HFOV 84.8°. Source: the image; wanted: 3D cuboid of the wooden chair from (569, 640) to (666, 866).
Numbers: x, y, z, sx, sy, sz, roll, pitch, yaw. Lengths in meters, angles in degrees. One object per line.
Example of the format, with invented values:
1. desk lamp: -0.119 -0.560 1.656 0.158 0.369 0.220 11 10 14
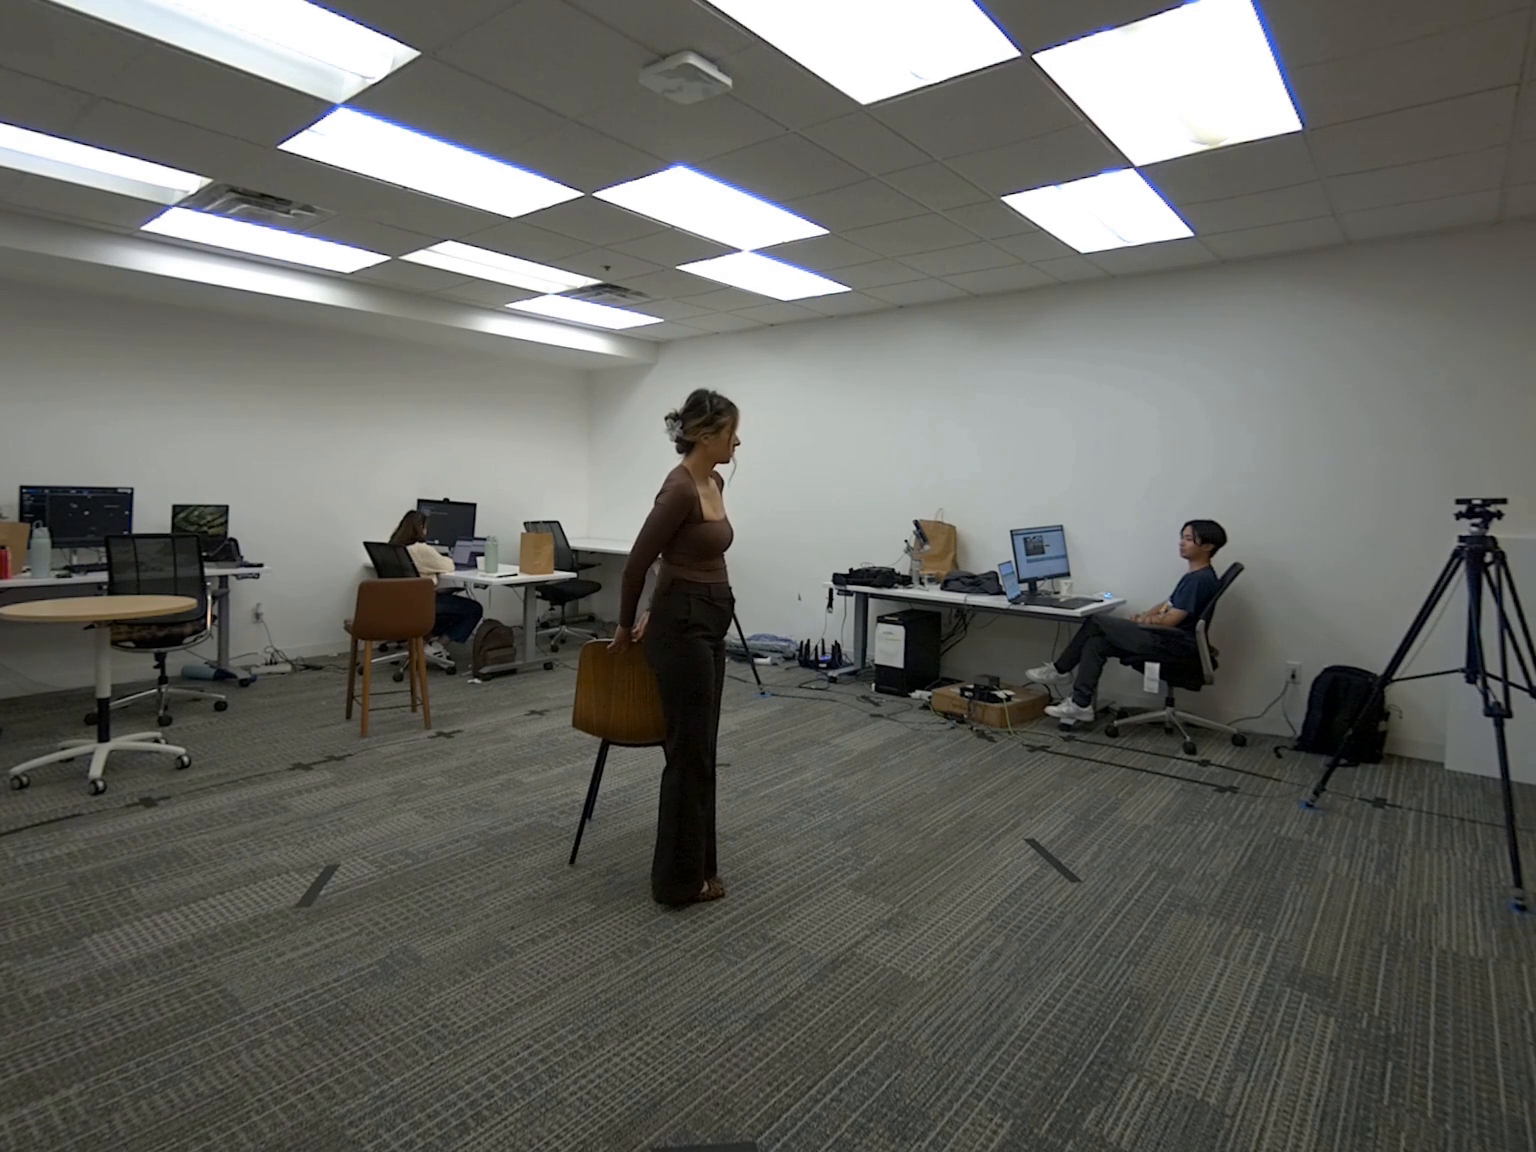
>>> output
1. wooden chair: -0.524 0.616 3.330 0.478 0.872 0.526 1 7 0
